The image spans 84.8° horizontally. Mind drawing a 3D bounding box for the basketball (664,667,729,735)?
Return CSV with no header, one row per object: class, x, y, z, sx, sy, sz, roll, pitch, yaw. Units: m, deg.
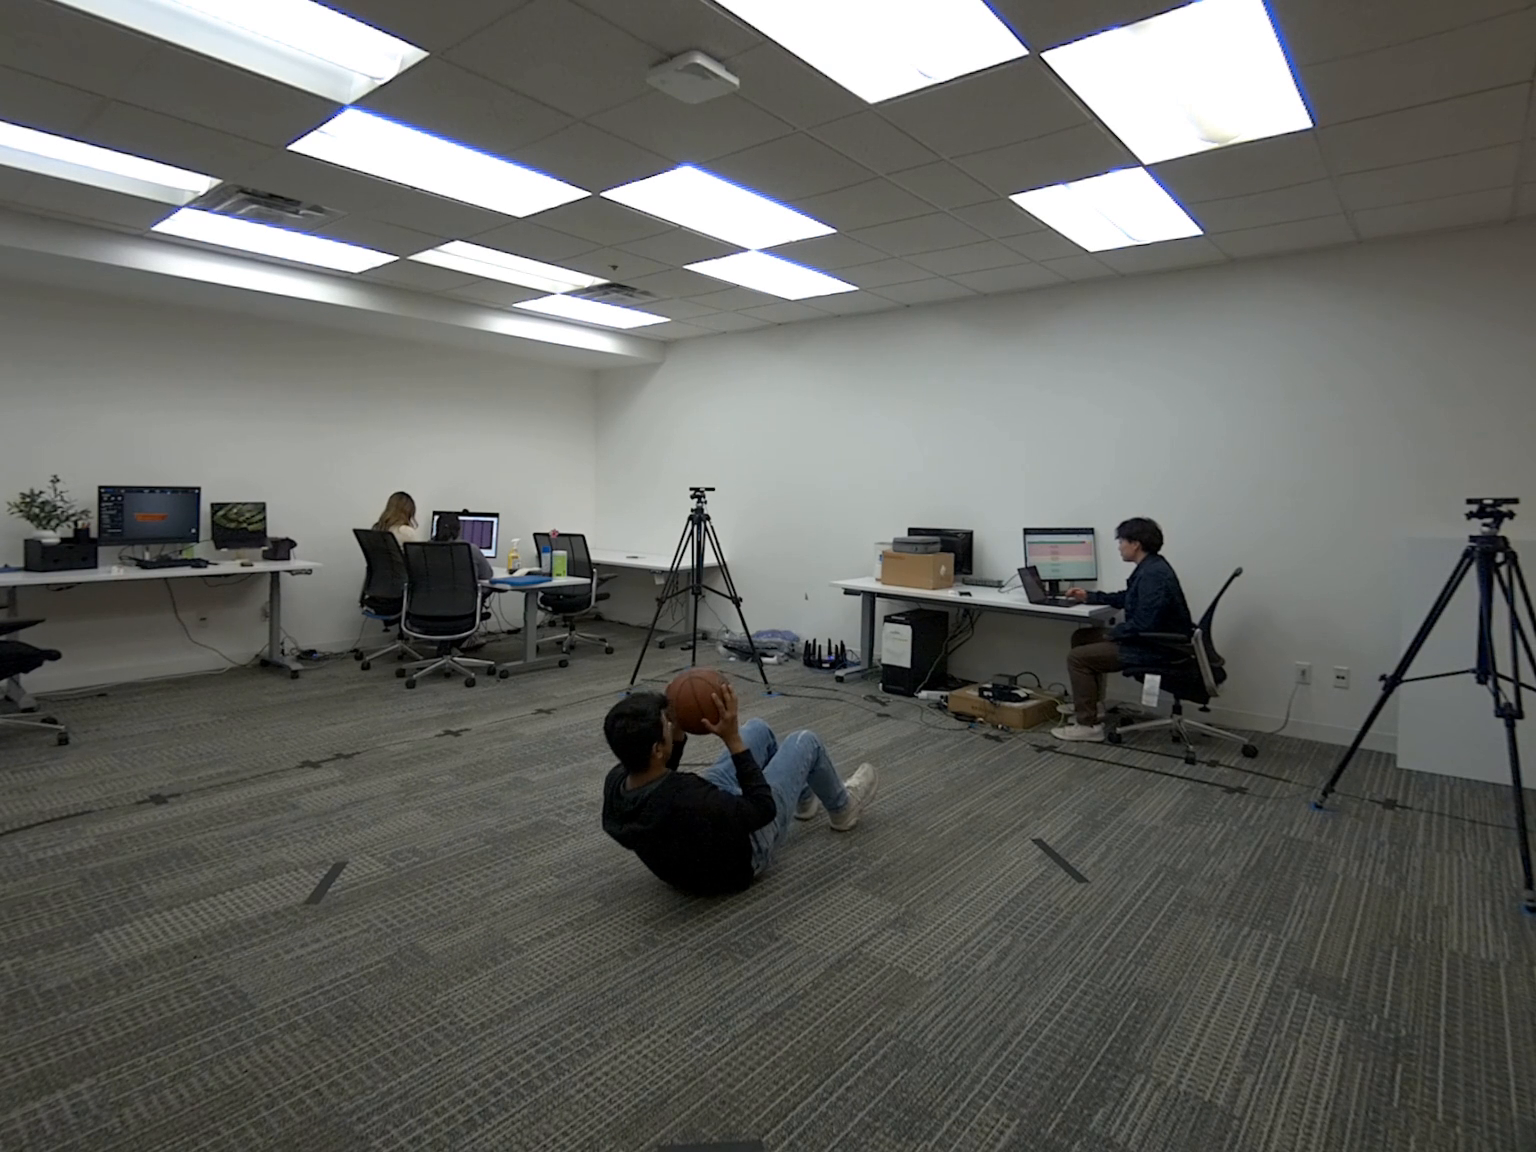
basketball,-0.251,0.443,2.976,0.235,0.235,0.237,1,4,-2
